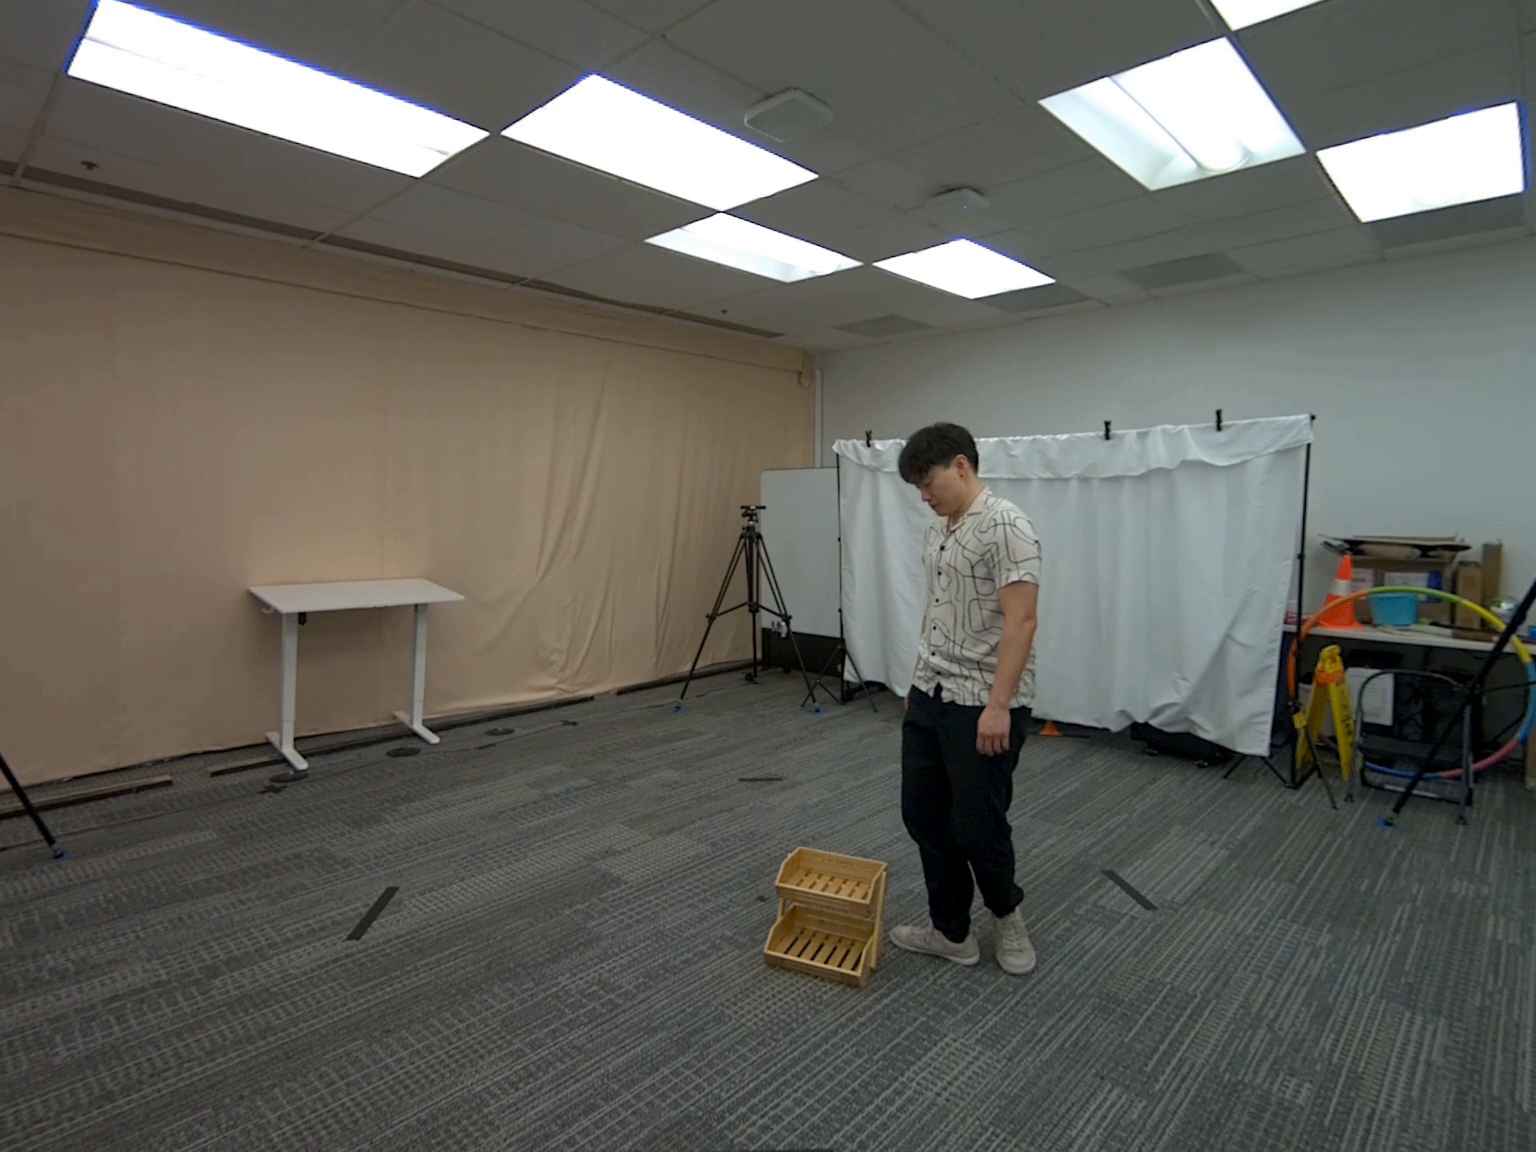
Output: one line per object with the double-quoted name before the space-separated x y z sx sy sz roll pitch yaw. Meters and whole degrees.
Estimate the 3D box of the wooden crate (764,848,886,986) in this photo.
"wooden crate" 0.191 1.042 2.600 0.333 0.273 0.295 2 4 25
